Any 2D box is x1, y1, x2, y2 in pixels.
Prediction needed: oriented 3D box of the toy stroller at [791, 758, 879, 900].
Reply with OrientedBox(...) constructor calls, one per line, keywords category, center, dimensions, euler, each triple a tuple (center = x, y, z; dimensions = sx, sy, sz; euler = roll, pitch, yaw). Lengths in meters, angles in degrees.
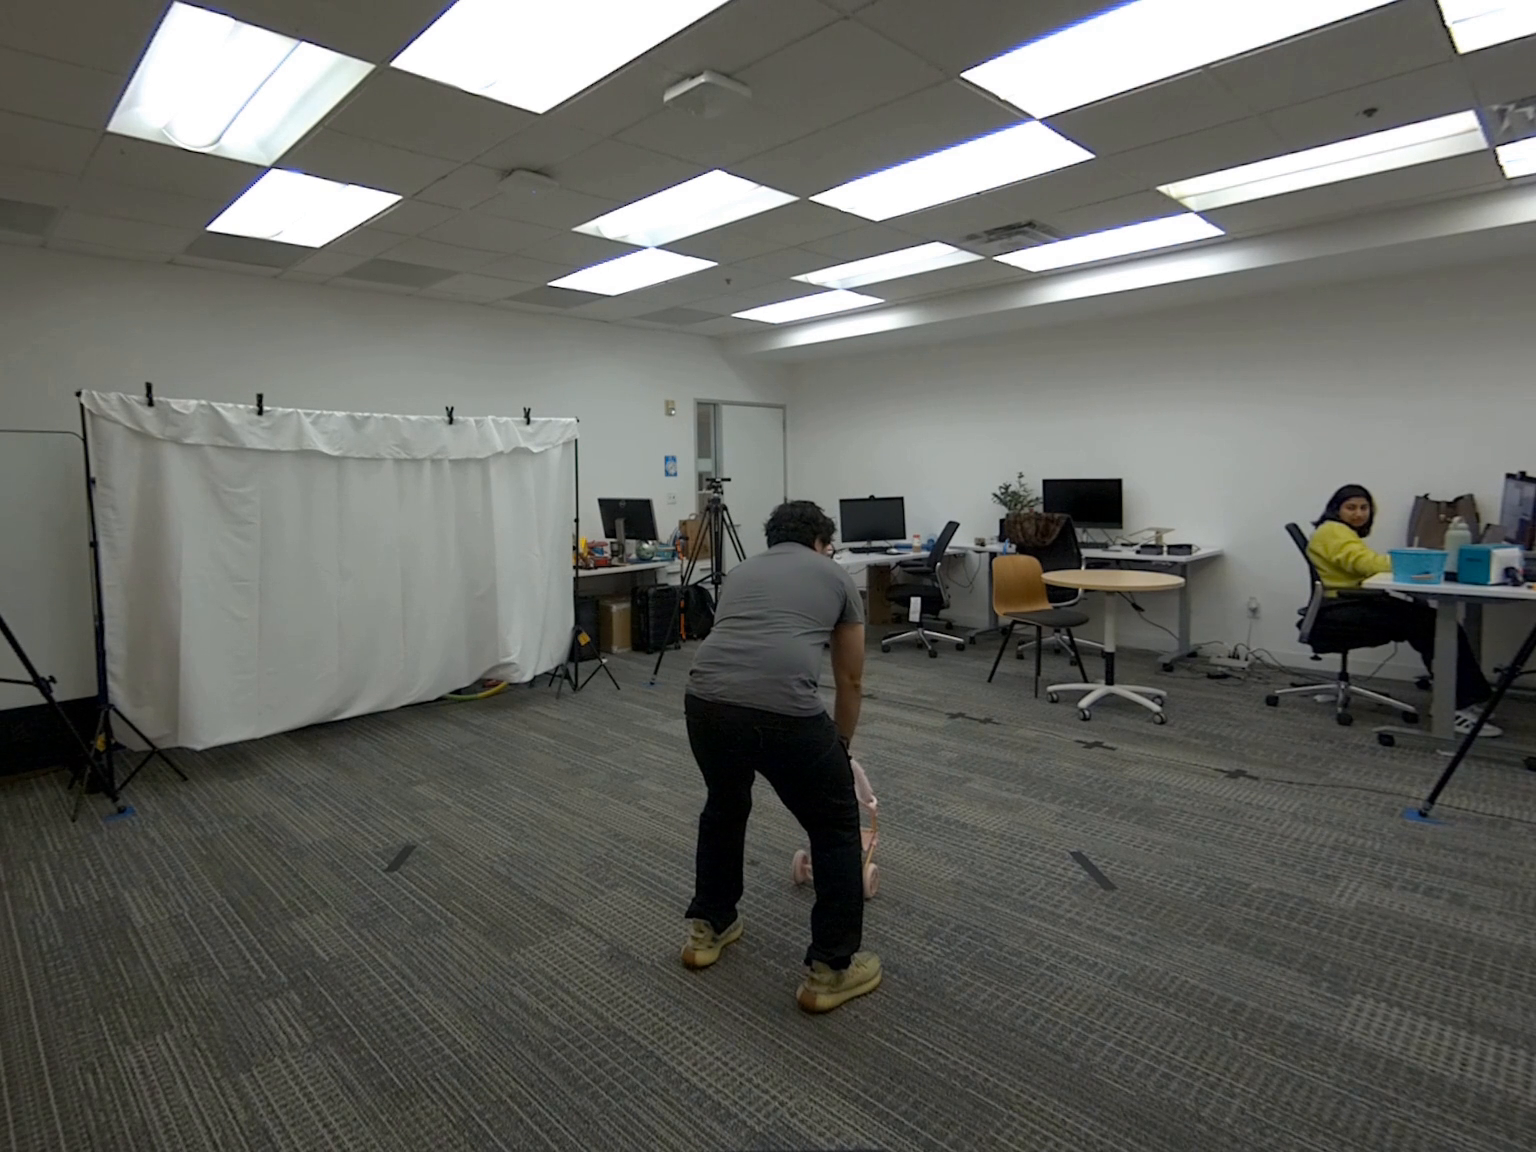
OrientedBox(category="toy stroller", center=(0.258, 0.839, 2.933), dimensions=(0.289, 0.525, 0.339), euler=(3, 22, 29))
